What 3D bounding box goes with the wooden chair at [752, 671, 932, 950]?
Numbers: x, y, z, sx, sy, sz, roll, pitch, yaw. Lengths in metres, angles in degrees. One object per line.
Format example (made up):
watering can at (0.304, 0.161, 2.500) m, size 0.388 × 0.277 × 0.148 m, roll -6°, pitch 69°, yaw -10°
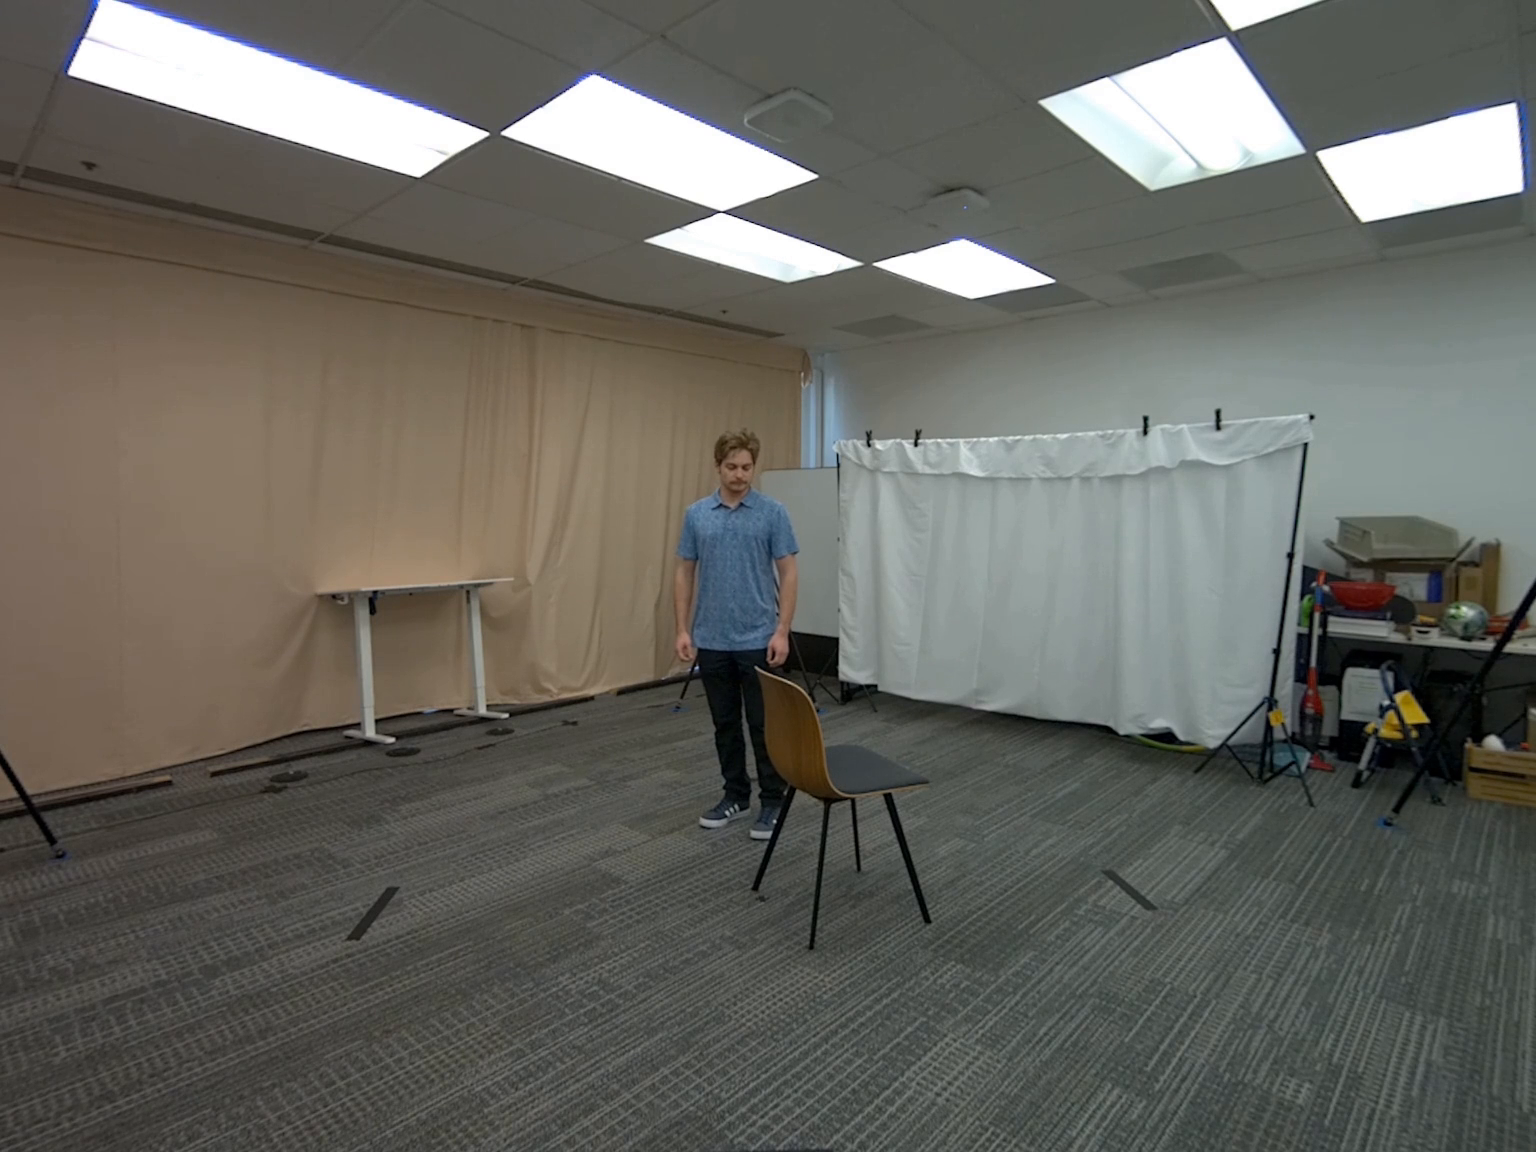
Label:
wooden chair at (0.255, 0.724, 2.900) m, size 0.512 × 0.874 × 0.490 m, roll -6°, pitch 5°, yaw -23°
